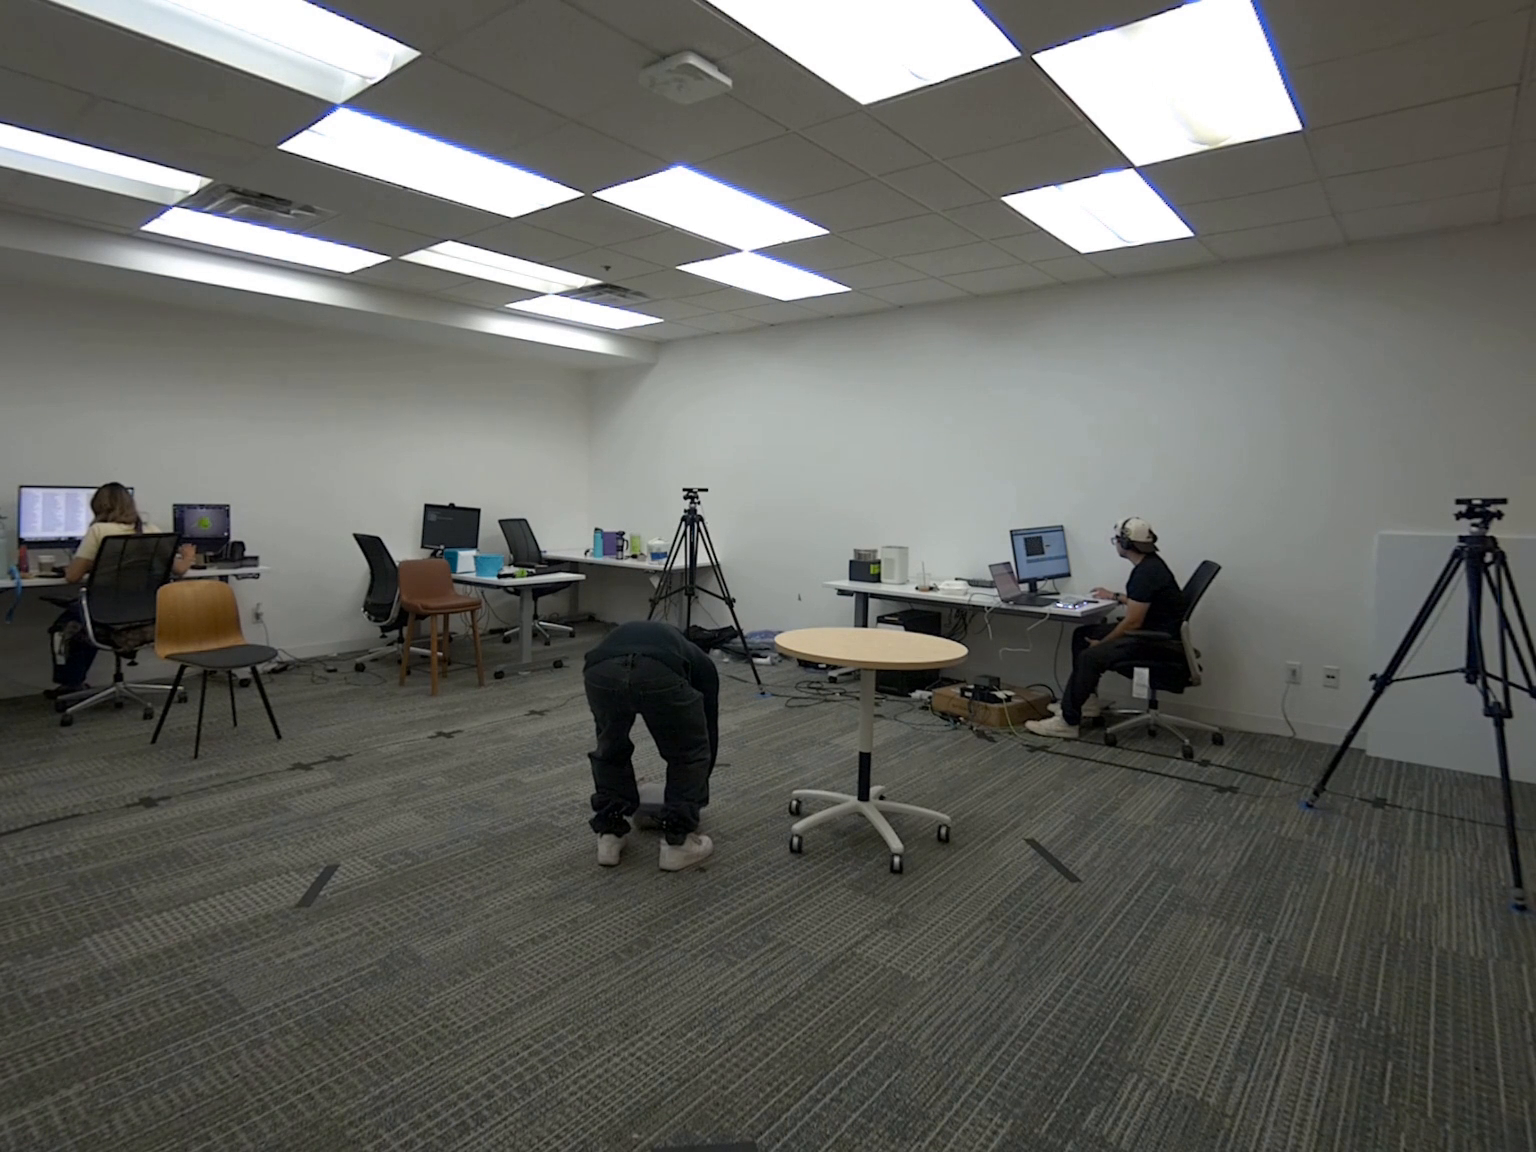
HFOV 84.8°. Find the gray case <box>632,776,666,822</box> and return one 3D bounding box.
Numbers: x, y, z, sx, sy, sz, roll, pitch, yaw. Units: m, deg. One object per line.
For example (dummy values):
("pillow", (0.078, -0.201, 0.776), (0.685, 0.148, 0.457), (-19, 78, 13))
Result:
("gray case", (-0.431, 0.936, 3.544), (0.258, 0.104, 0.259), (1, 2, 4))
